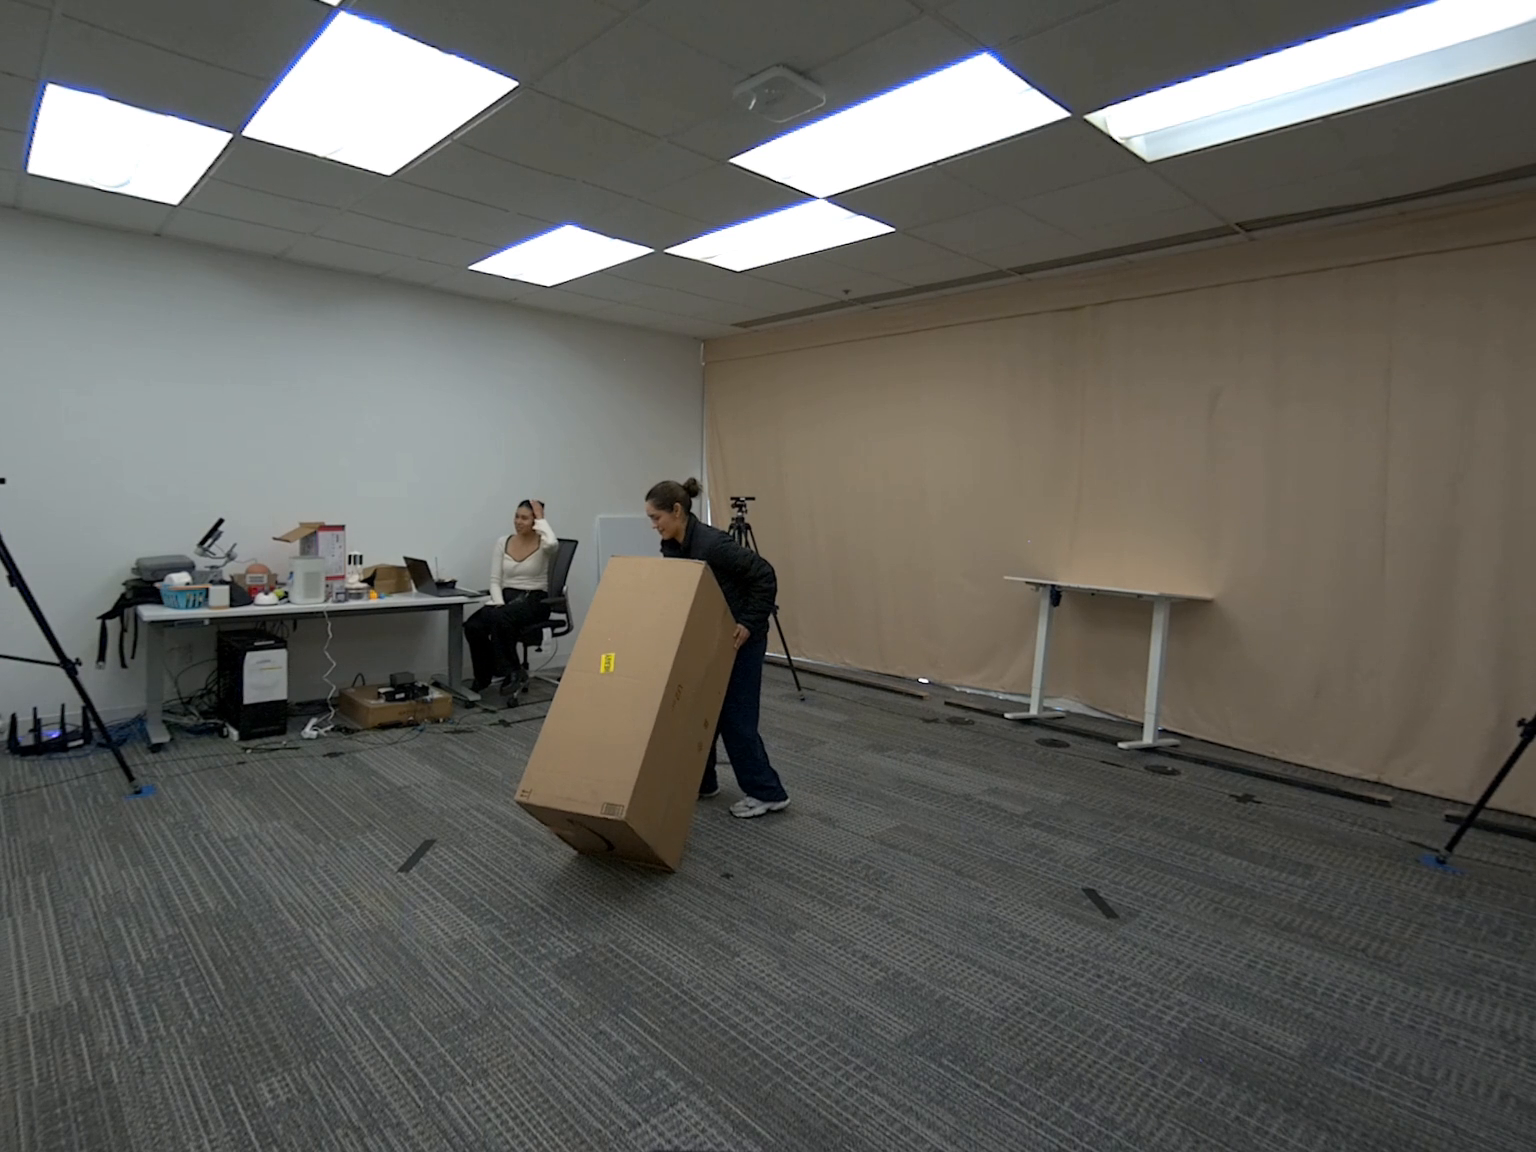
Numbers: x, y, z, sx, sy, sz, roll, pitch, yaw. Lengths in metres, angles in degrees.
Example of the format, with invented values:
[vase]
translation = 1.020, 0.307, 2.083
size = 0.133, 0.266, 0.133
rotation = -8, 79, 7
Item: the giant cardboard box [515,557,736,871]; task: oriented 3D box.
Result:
[giant cardboard box]
translation = -0.495, 0.513, 3.243
size = 0.454, 1.041, 0.567
rotation = 2, -34, 19
